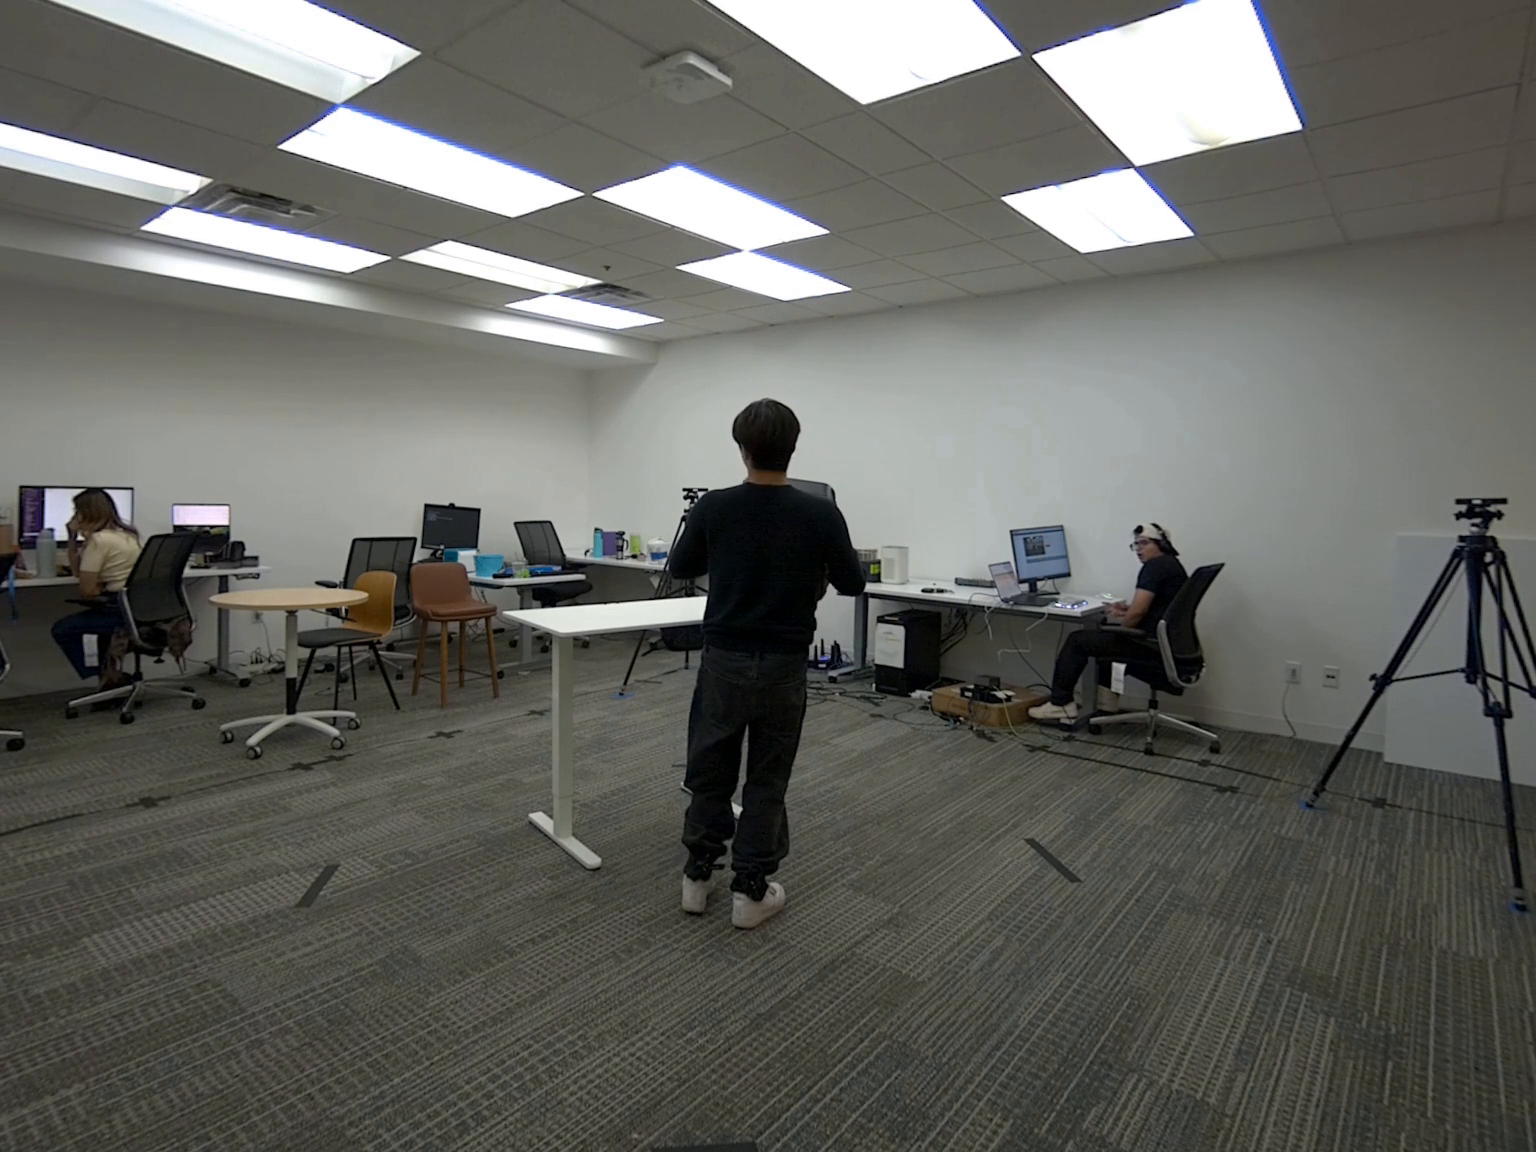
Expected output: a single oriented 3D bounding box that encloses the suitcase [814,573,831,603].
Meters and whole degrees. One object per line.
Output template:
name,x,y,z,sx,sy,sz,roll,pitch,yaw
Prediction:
suitcase,0.031,-0.095,3.083,0.376,0.536,0.254,10,45,1
